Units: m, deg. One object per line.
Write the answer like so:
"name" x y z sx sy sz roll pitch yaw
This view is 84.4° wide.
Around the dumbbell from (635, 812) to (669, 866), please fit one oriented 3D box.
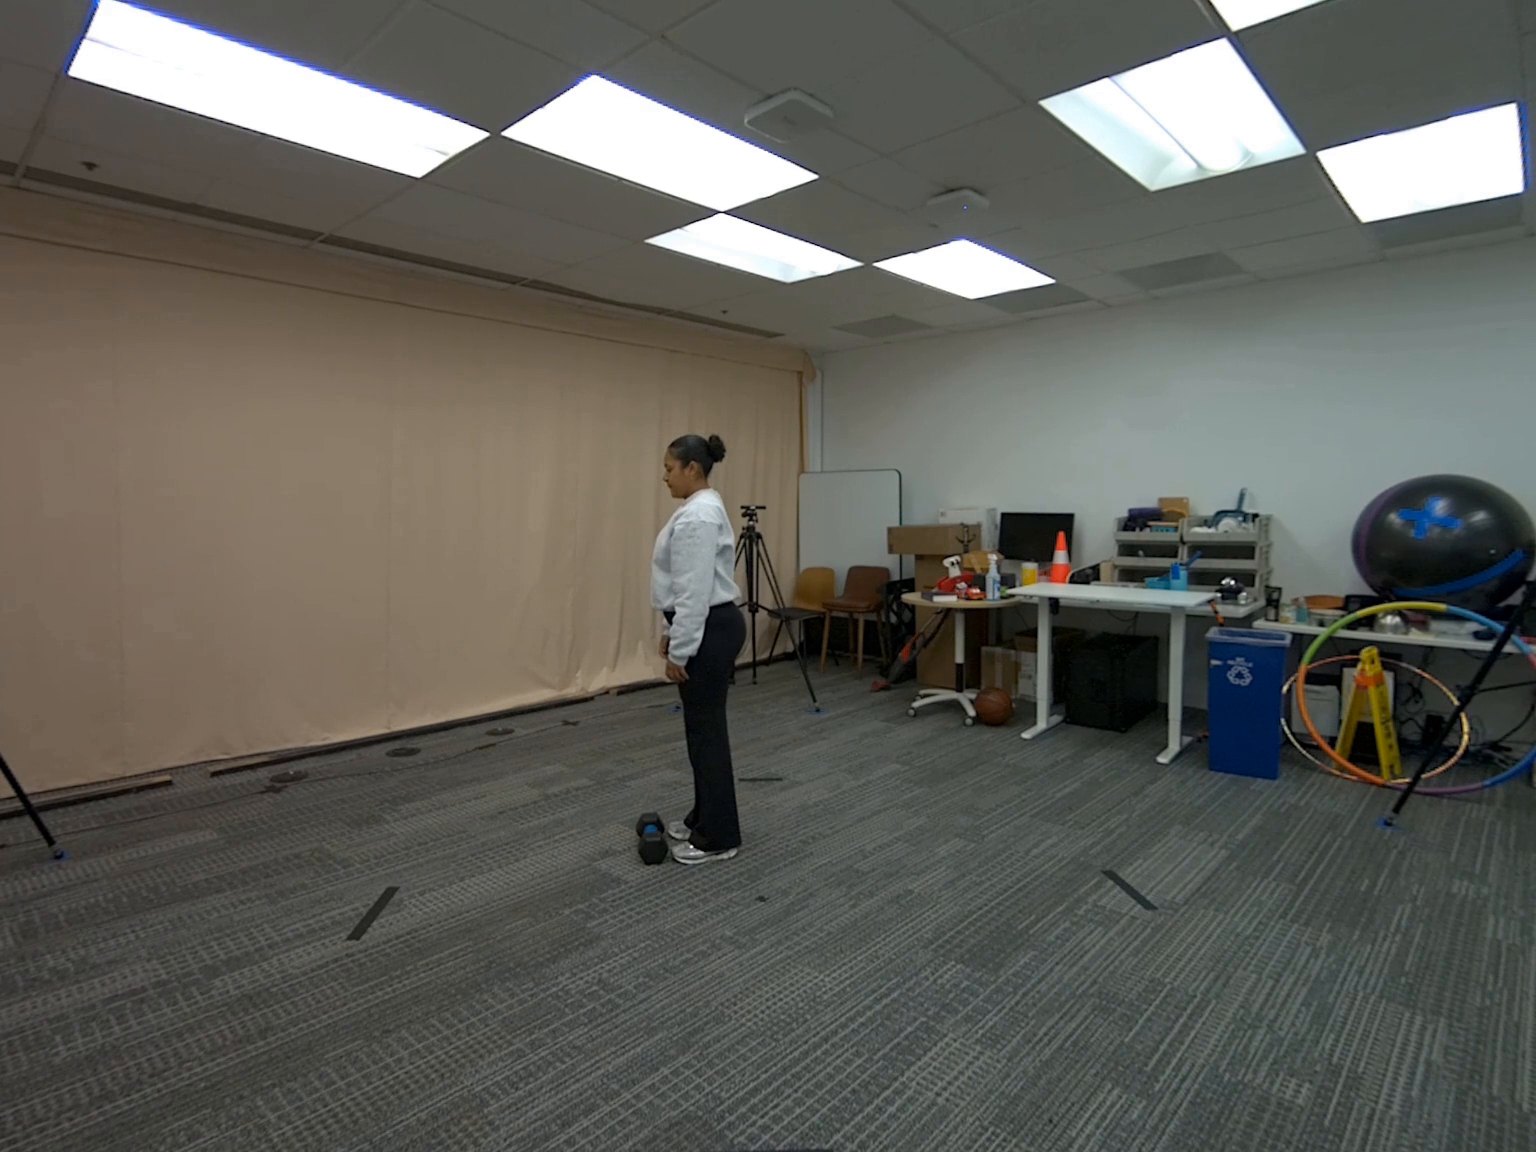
"dumbbell" -0.466 1.066 3.410 0.107 0.123 0.297 32 -2 -11
